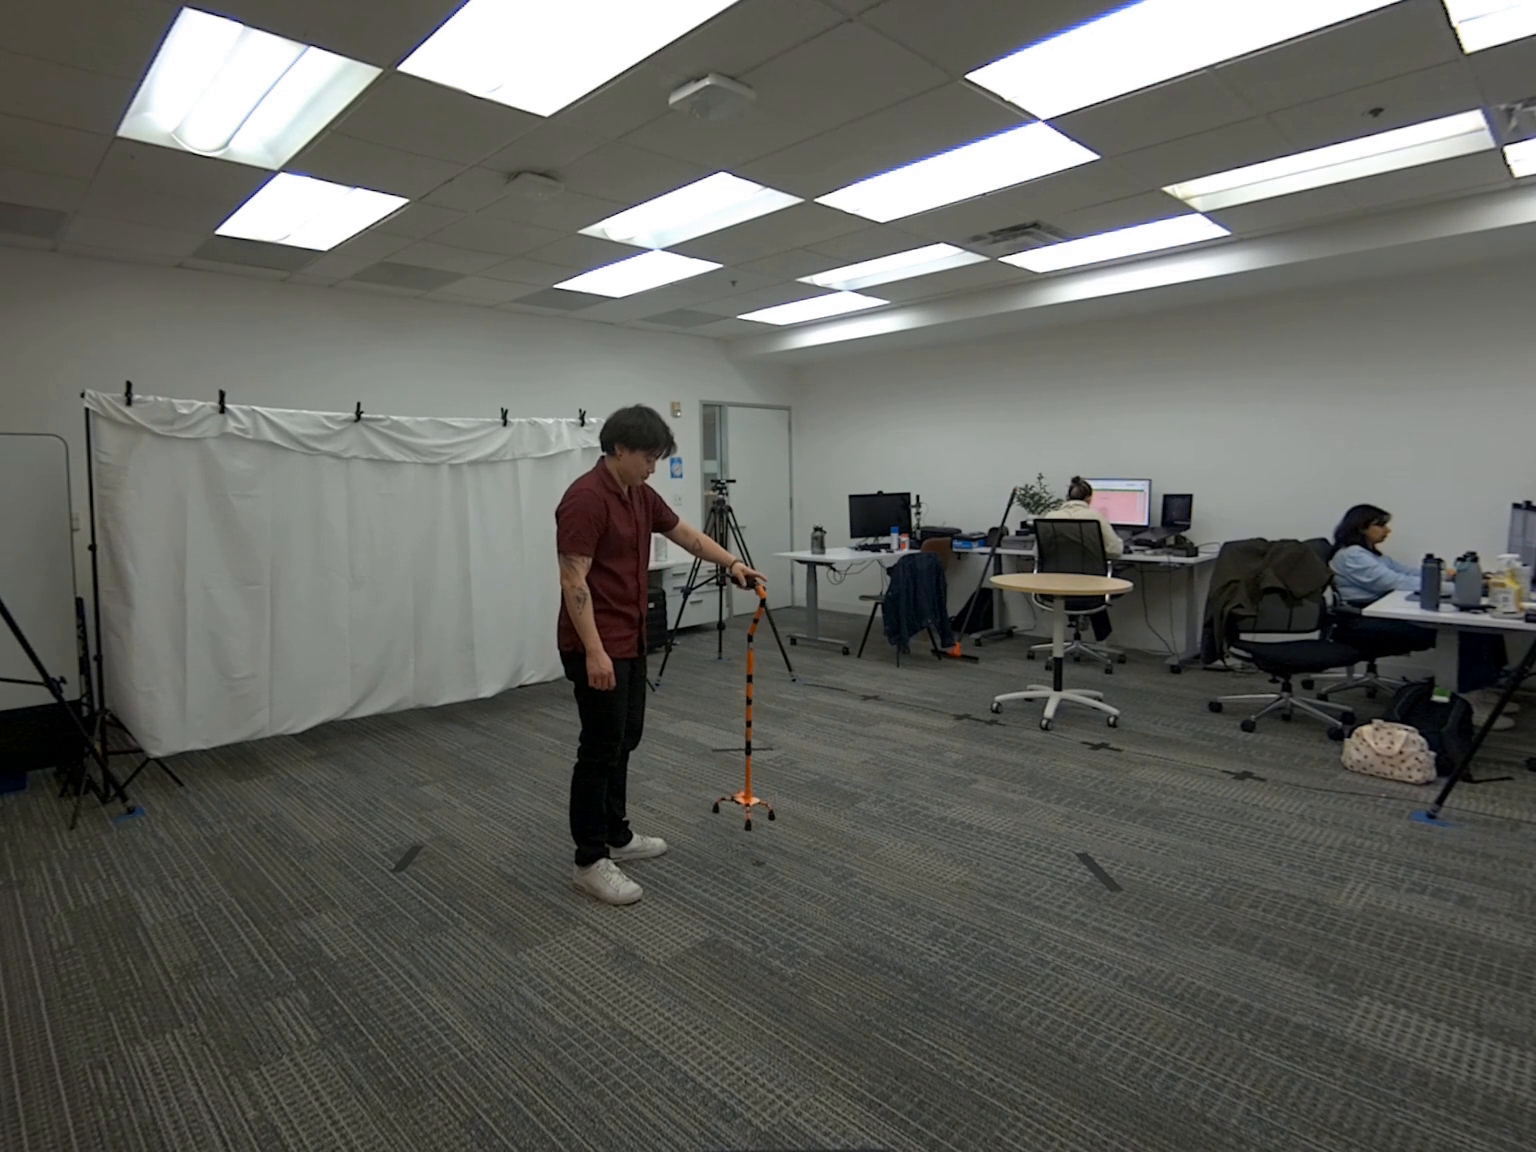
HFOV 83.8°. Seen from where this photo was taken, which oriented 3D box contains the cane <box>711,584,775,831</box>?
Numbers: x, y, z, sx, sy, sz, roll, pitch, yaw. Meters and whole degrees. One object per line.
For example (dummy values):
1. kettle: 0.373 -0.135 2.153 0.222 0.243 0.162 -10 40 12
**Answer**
1. cane: -0.075 0.457 3.168 0.147 0.901 0.213 -4 10 -41
